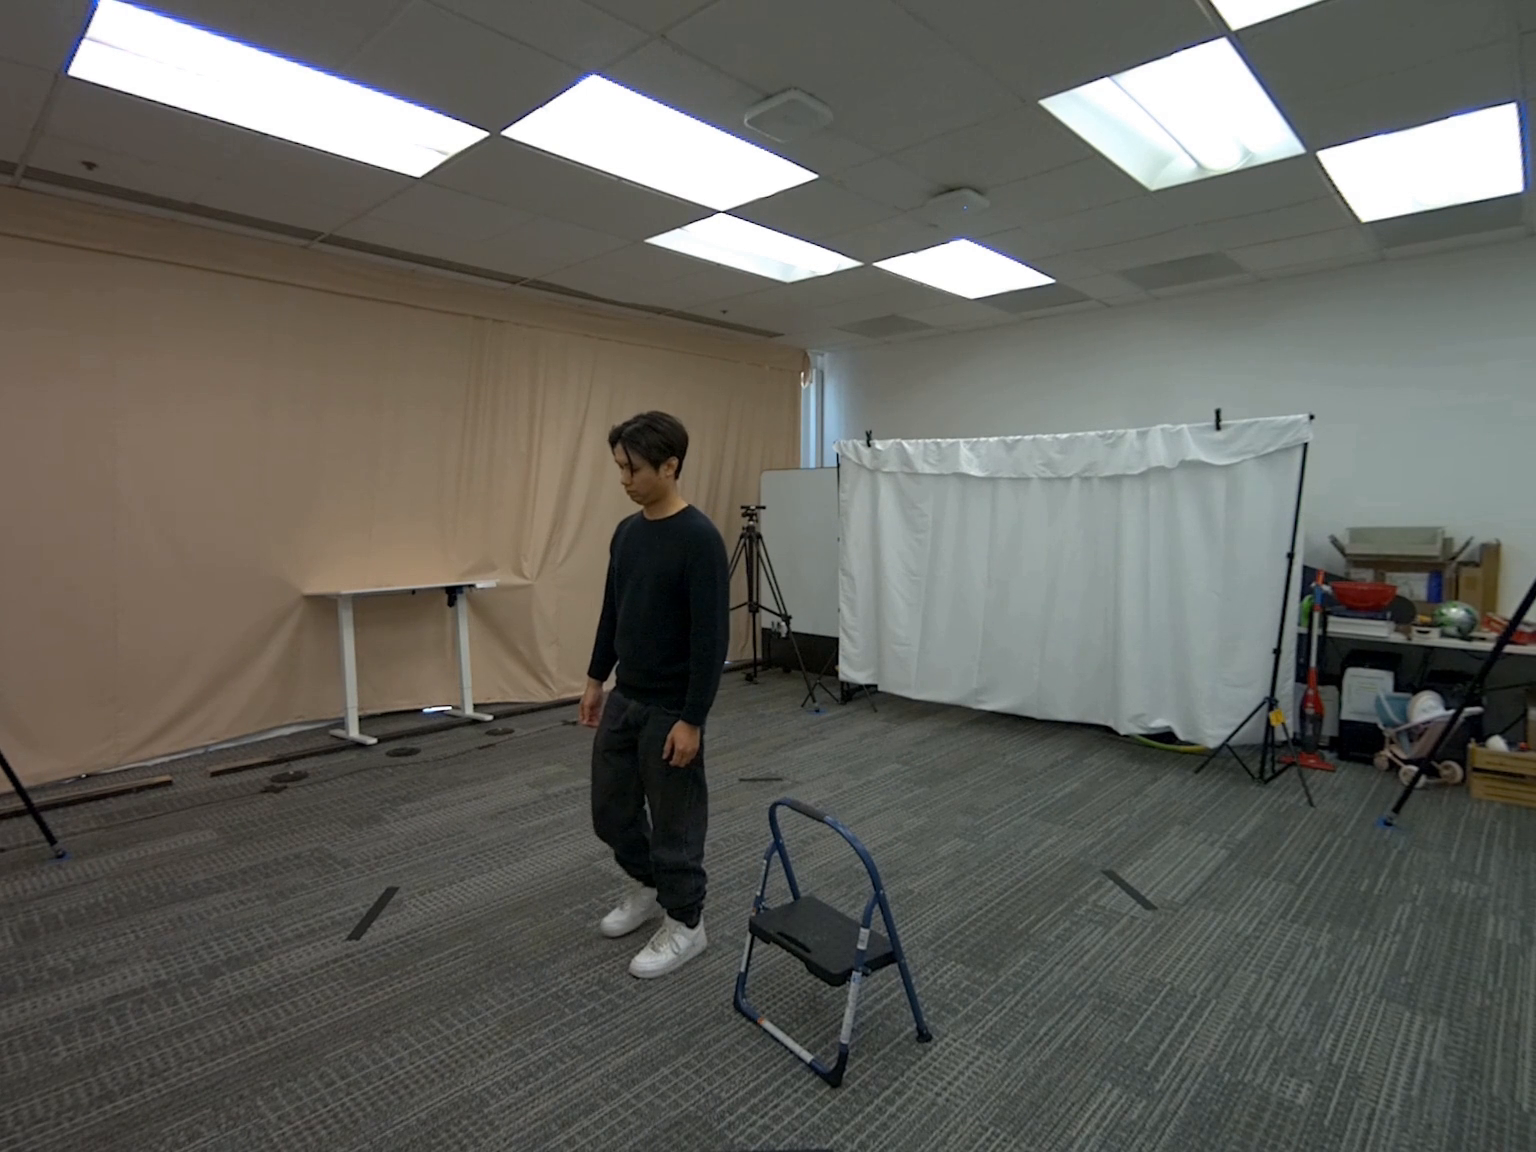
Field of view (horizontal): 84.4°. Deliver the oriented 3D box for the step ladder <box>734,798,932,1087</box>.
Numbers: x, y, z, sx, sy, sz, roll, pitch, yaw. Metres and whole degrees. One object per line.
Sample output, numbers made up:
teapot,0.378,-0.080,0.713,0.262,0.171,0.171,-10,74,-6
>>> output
step ladder,0.167,0.905,2.252,0.339,0.605,0.445,-2,4,-39
